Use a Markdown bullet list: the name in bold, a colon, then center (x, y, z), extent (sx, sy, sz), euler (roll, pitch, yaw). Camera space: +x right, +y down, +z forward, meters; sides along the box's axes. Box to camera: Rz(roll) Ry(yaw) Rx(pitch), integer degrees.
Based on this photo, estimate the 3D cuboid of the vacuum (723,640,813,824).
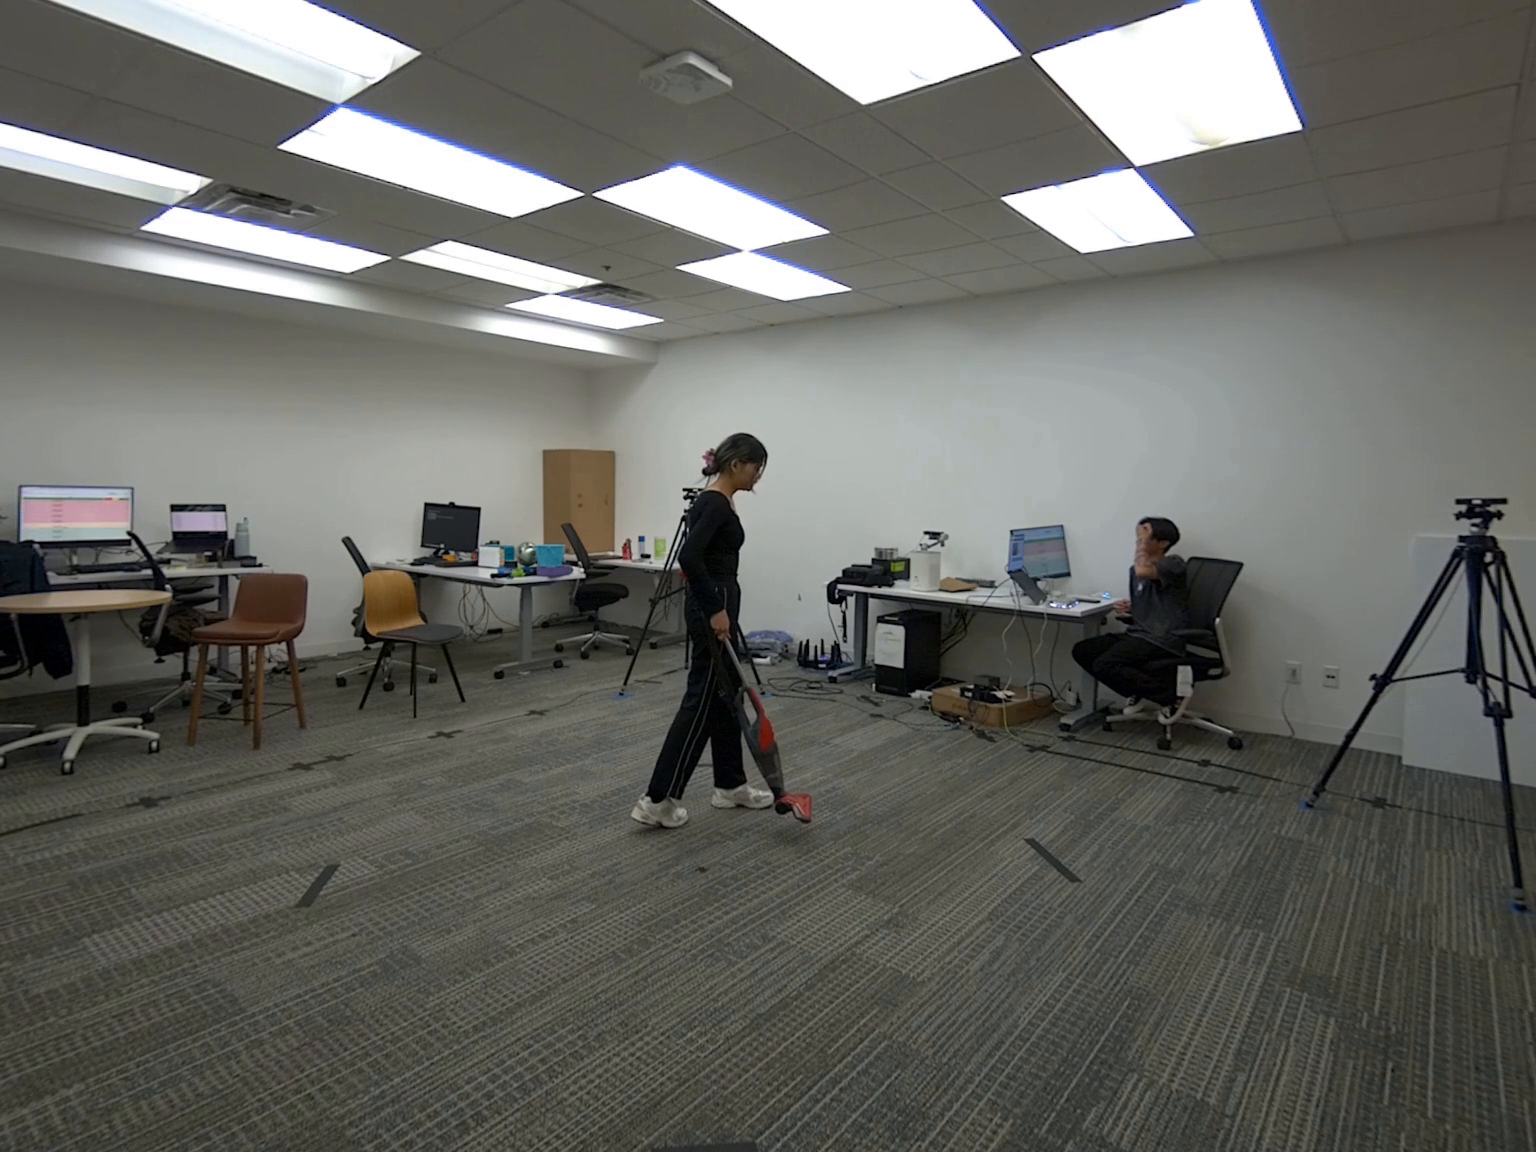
- **vacuum**: center (-0.110, 0.463, 3.428), extent (0.145, 1.049, 0.251), euler (-24, 0, 12)
